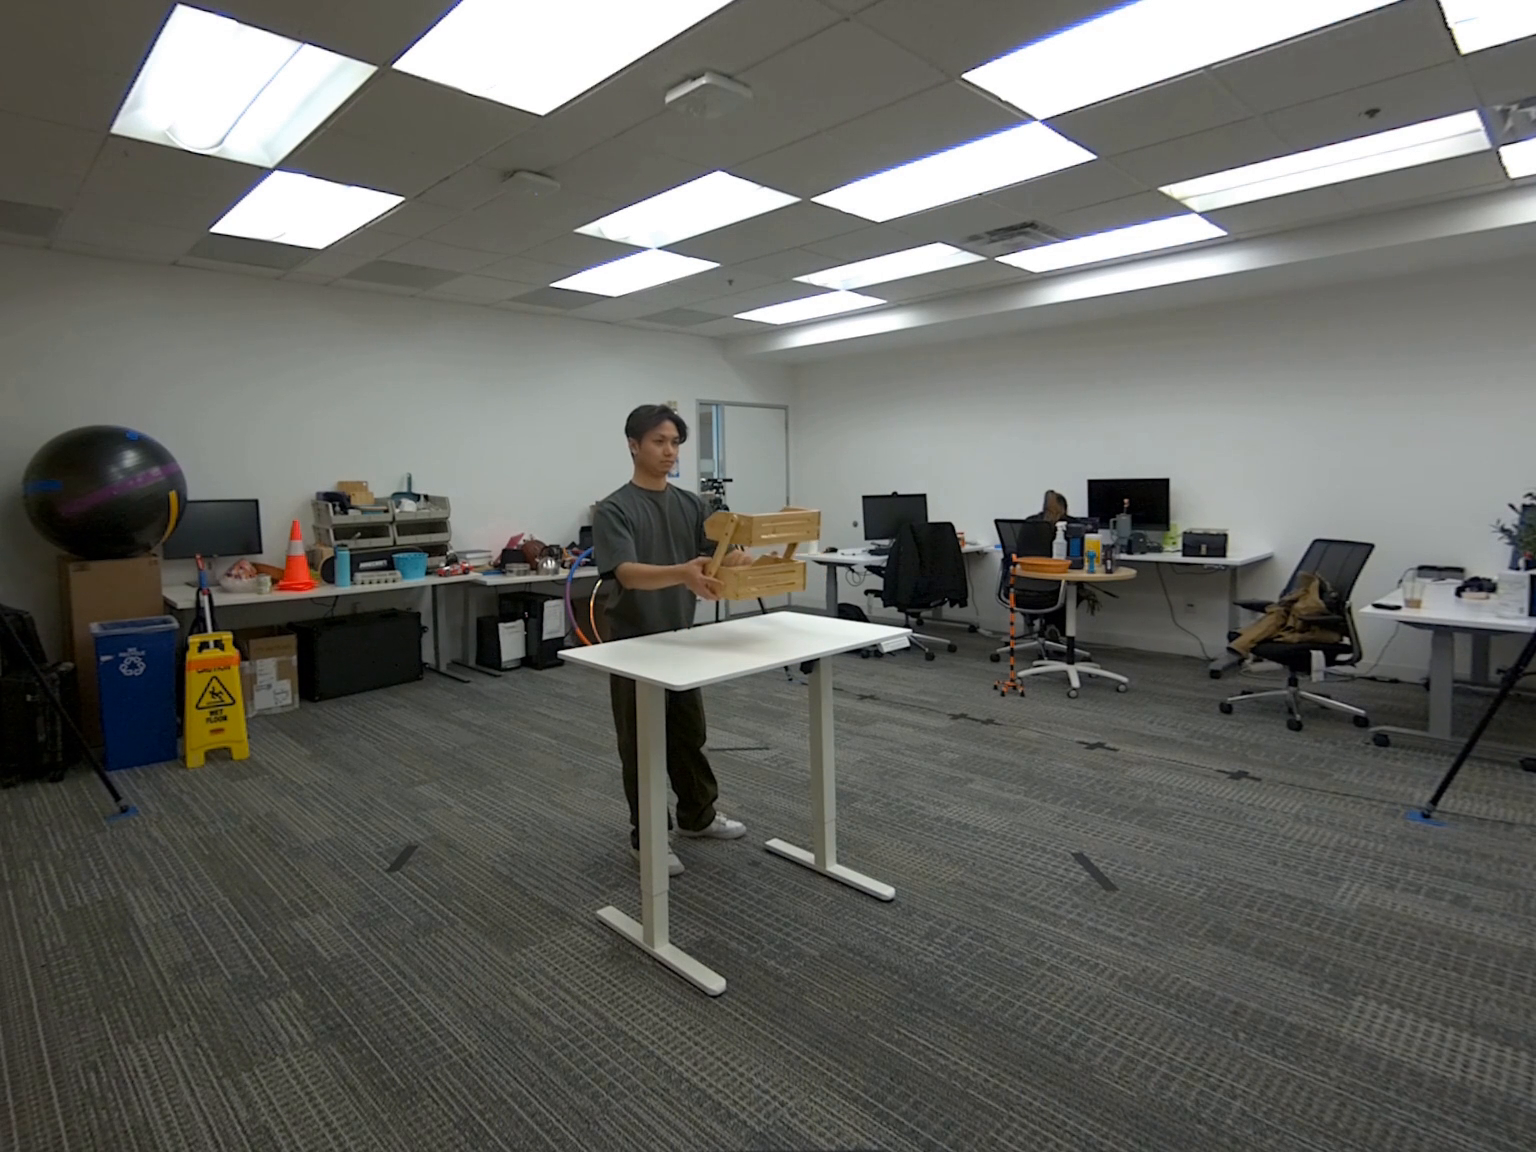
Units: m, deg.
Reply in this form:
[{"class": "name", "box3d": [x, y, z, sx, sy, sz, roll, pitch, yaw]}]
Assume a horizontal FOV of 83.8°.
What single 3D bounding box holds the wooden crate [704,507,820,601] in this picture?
[{"class": "wooden crate", "box3d": [-0.046, -0.087, 2.681, 0.316, 0.271, 0.312, -7, 13, -42]}]
